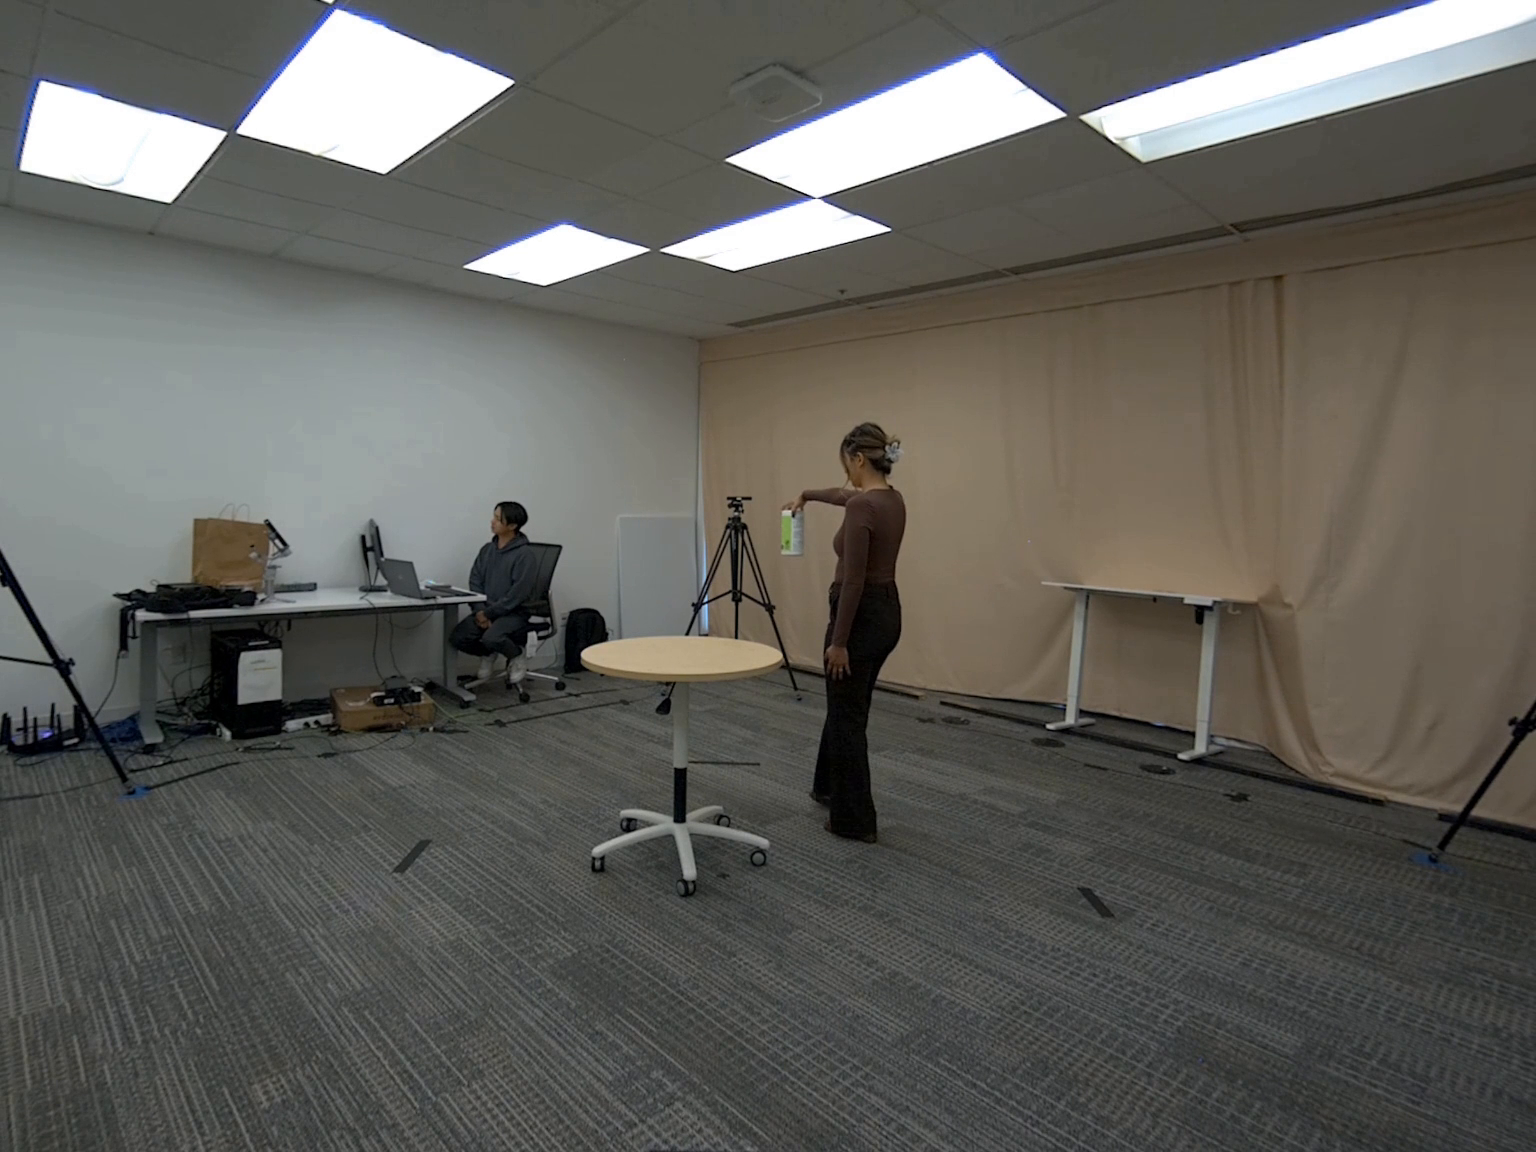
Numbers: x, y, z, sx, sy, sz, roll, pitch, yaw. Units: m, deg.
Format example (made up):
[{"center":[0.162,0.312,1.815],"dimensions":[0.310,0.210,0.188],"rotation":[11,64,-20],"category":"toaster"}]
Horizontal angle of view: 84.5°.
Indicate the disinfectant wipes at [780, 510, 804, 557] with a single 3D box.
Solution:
[{"center":[0.105,-0.210,4.056],"dimensions":[0.118,0.217,0.118],"rotation":[2,2,-1],"category":"disinfectant wipes"}]
